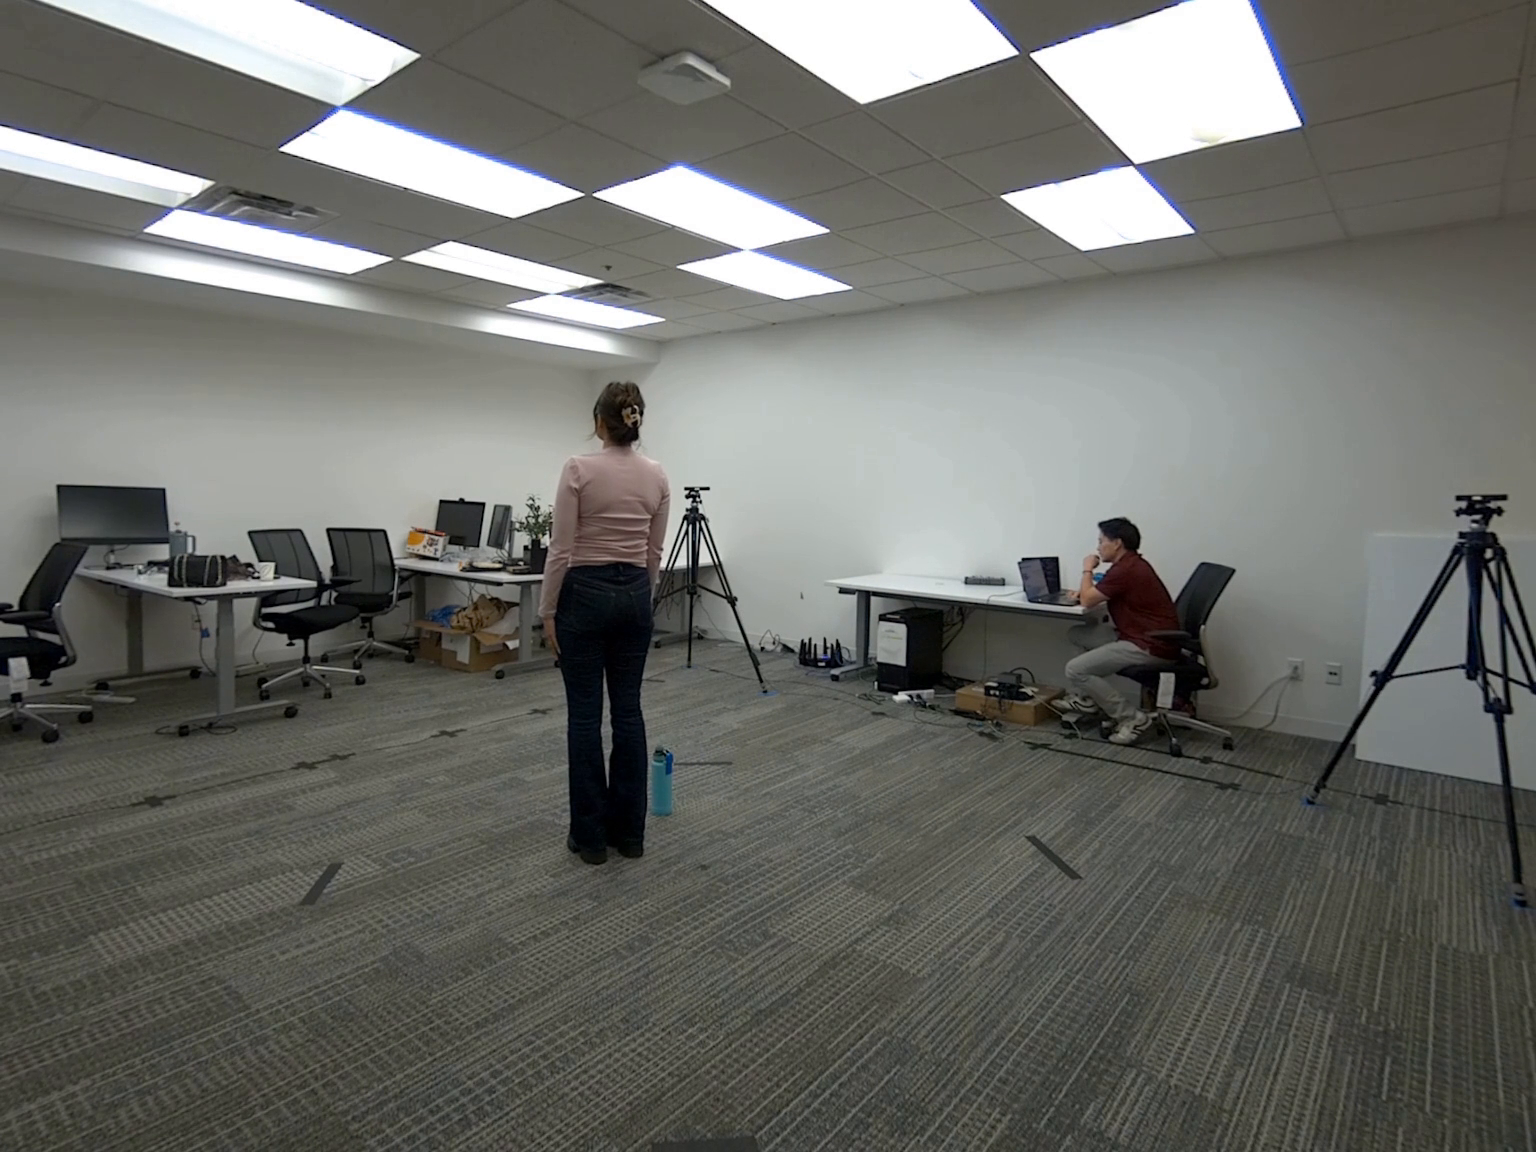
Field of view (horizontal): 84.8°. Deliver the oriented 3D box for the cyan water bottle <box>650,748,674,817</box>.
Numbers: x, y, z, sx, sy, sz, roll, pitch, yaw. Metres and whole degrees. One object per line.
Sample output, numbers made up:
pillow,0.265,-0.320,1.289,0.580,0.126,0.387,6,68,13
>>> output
cyan water bottle,-0.466,0.872,3.642,0.092,0.283,0.093,2,3,-2
